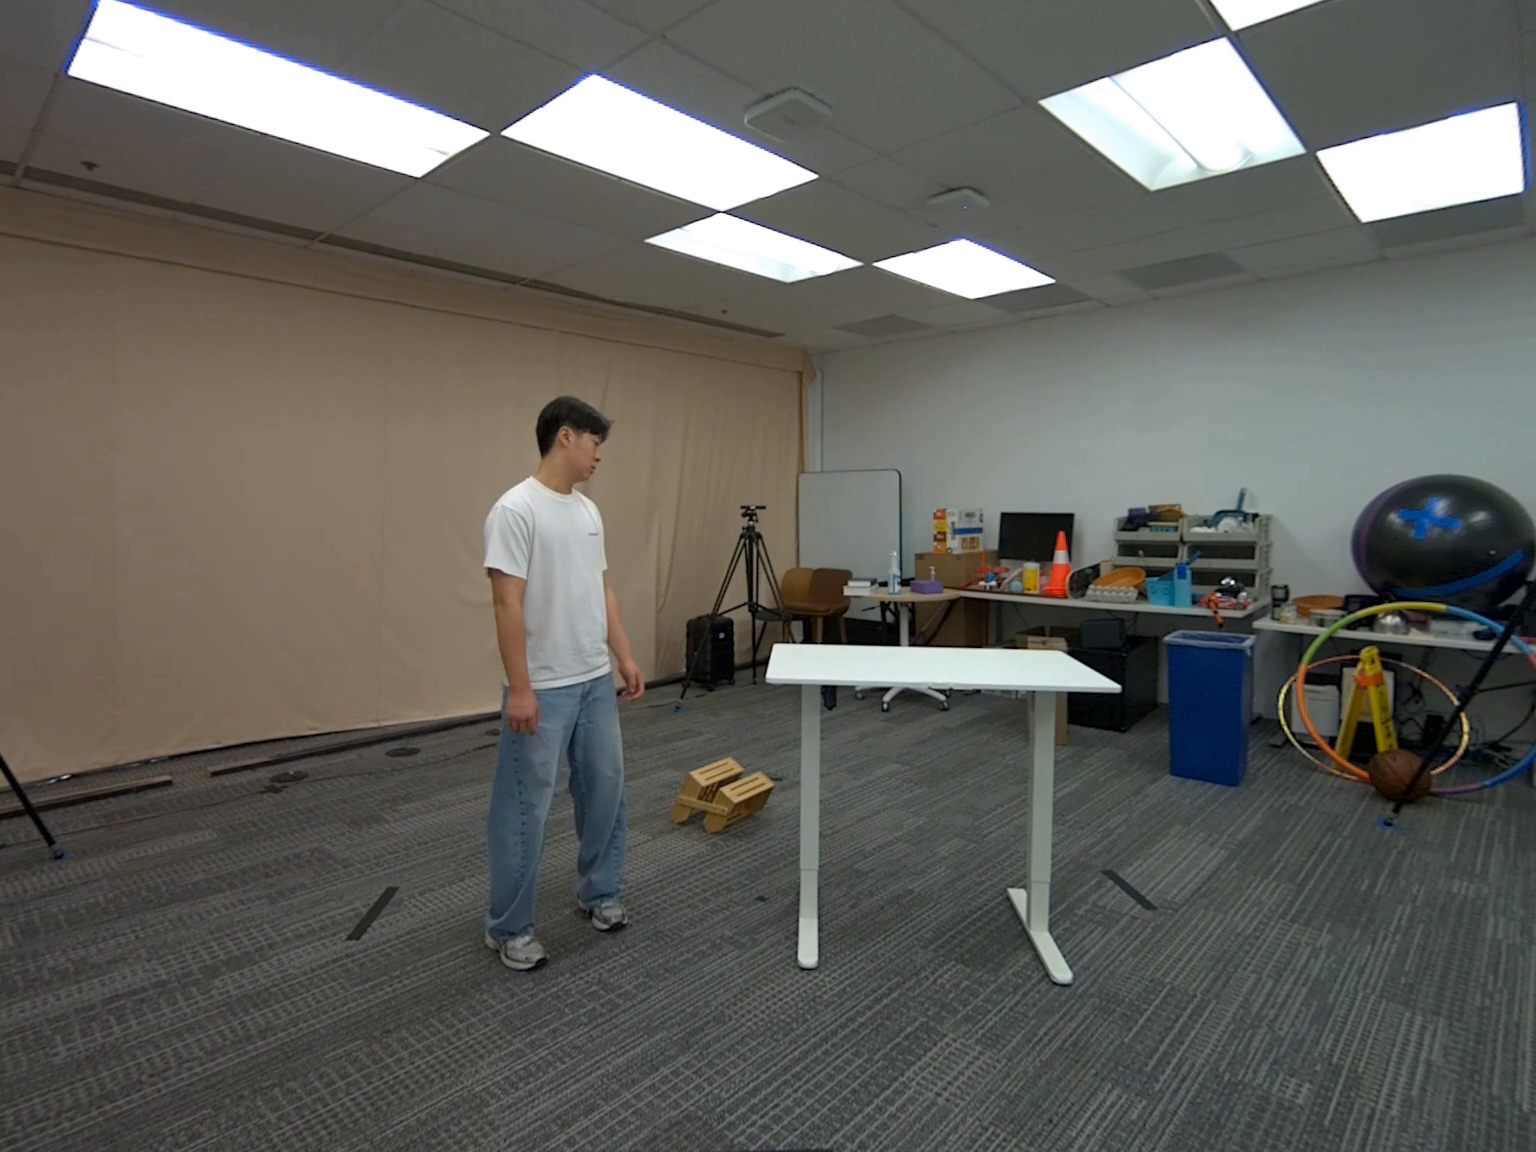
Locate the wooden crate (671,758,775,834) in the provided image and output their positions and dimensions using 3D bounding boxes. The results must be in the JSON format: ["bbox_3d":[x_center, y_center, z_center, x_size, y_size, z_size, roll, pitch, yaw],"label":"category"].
[{"bbox_3d":[-0.198,0.995,3.718,0.282,0.301,0.315,35,23,30],"label":"wooden crate"}]
